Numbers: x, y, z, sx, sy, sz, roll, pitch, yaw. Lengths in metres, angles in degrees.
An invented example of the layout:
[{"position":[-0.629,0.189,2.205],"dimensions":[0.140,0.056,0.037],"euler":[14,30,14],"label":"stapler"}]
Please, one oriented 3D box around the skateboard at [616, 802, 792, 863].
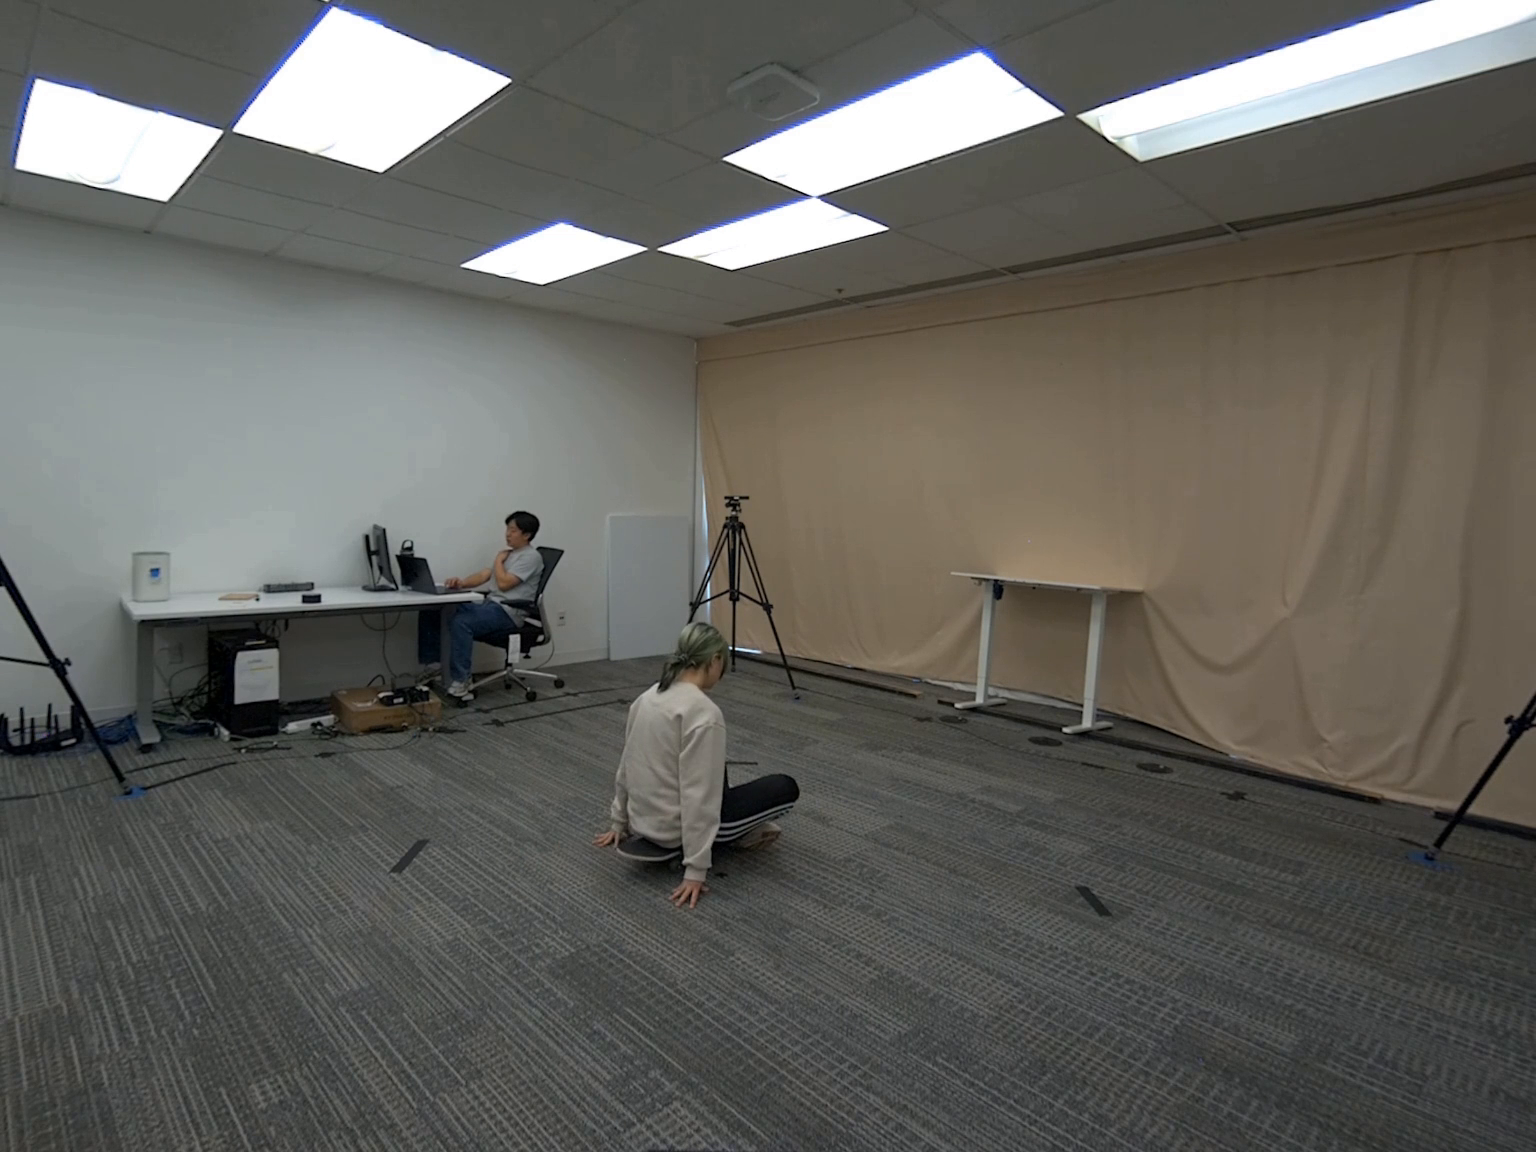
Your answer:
[{"position":[-0.261,1.027,3.328],"dimensions":[0.198,0.110,0.769],"euler":[0,5,40],"label":"skateboard"}]
